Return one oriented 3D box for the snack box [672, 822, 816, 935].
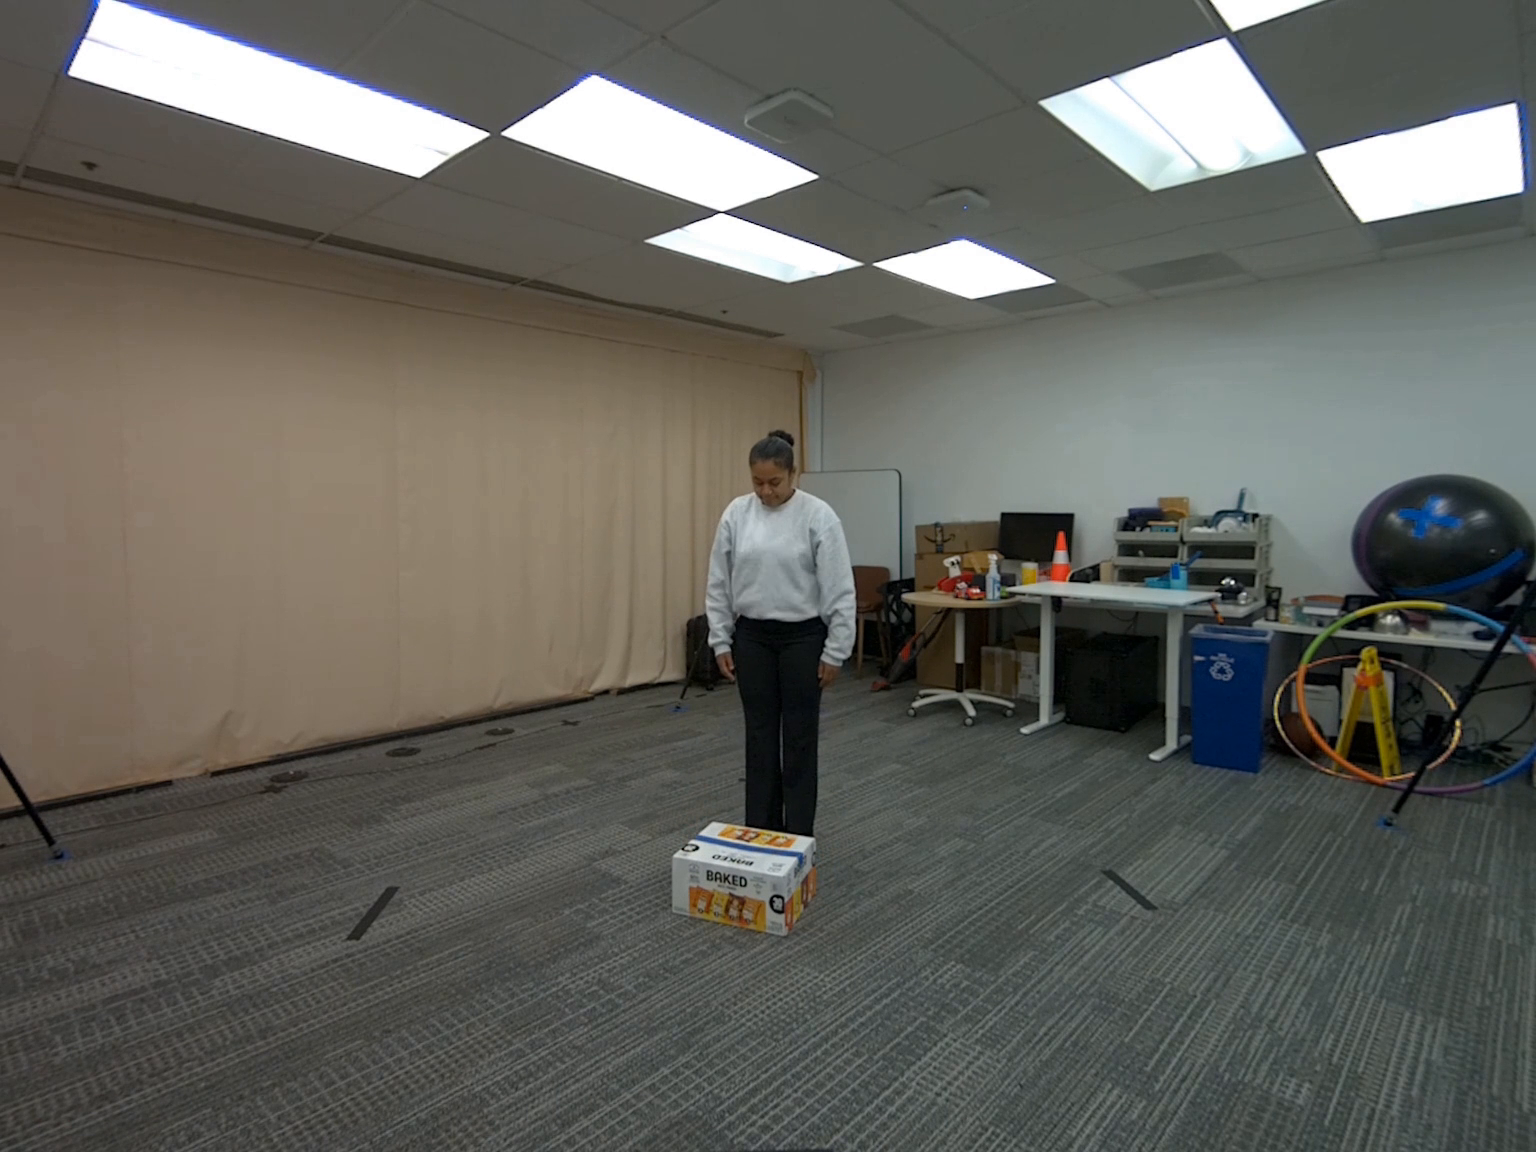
[{"bbox_3d":[-0.076,1.047,2.937,0.415,0.205,0.333,2,4,22],"label":"snack box"}]
